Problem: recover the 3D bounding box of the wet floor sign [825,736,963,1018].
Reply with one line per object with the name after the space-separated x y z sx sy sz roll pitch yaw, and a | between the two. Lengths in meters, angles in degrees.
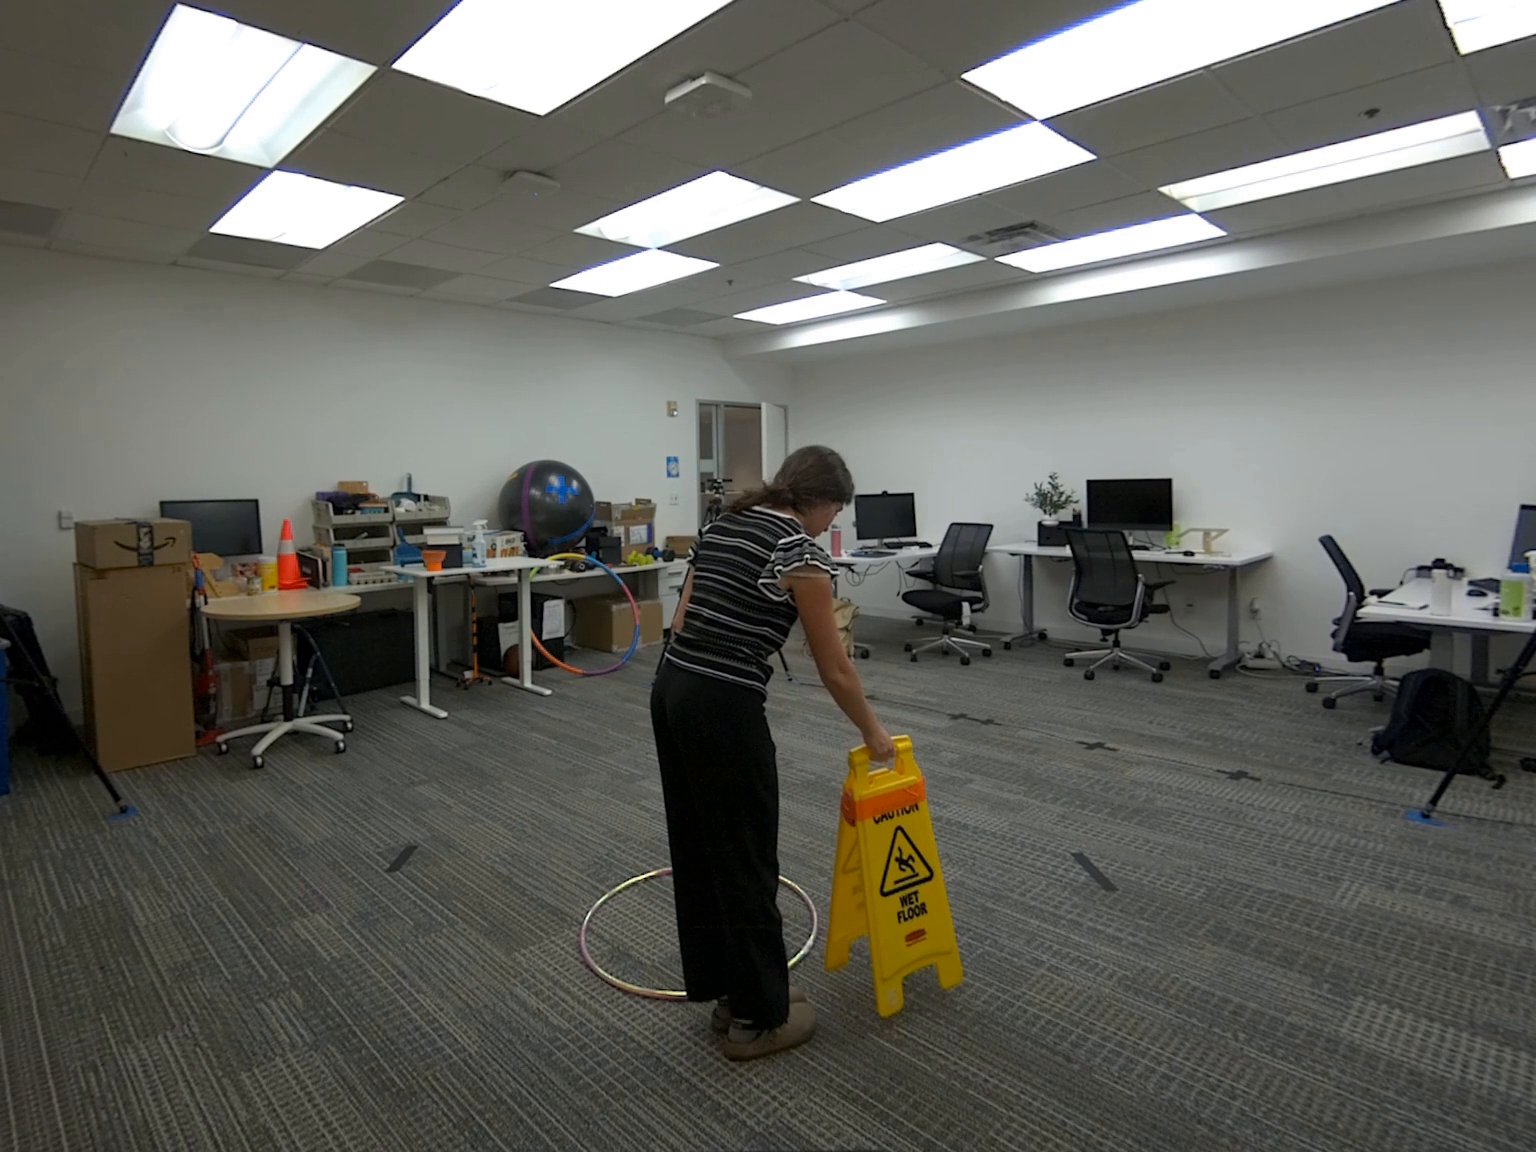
0.321 0.761 2.276 0.276 0.644 0.297 -5 4 -30 | wet floor sign
